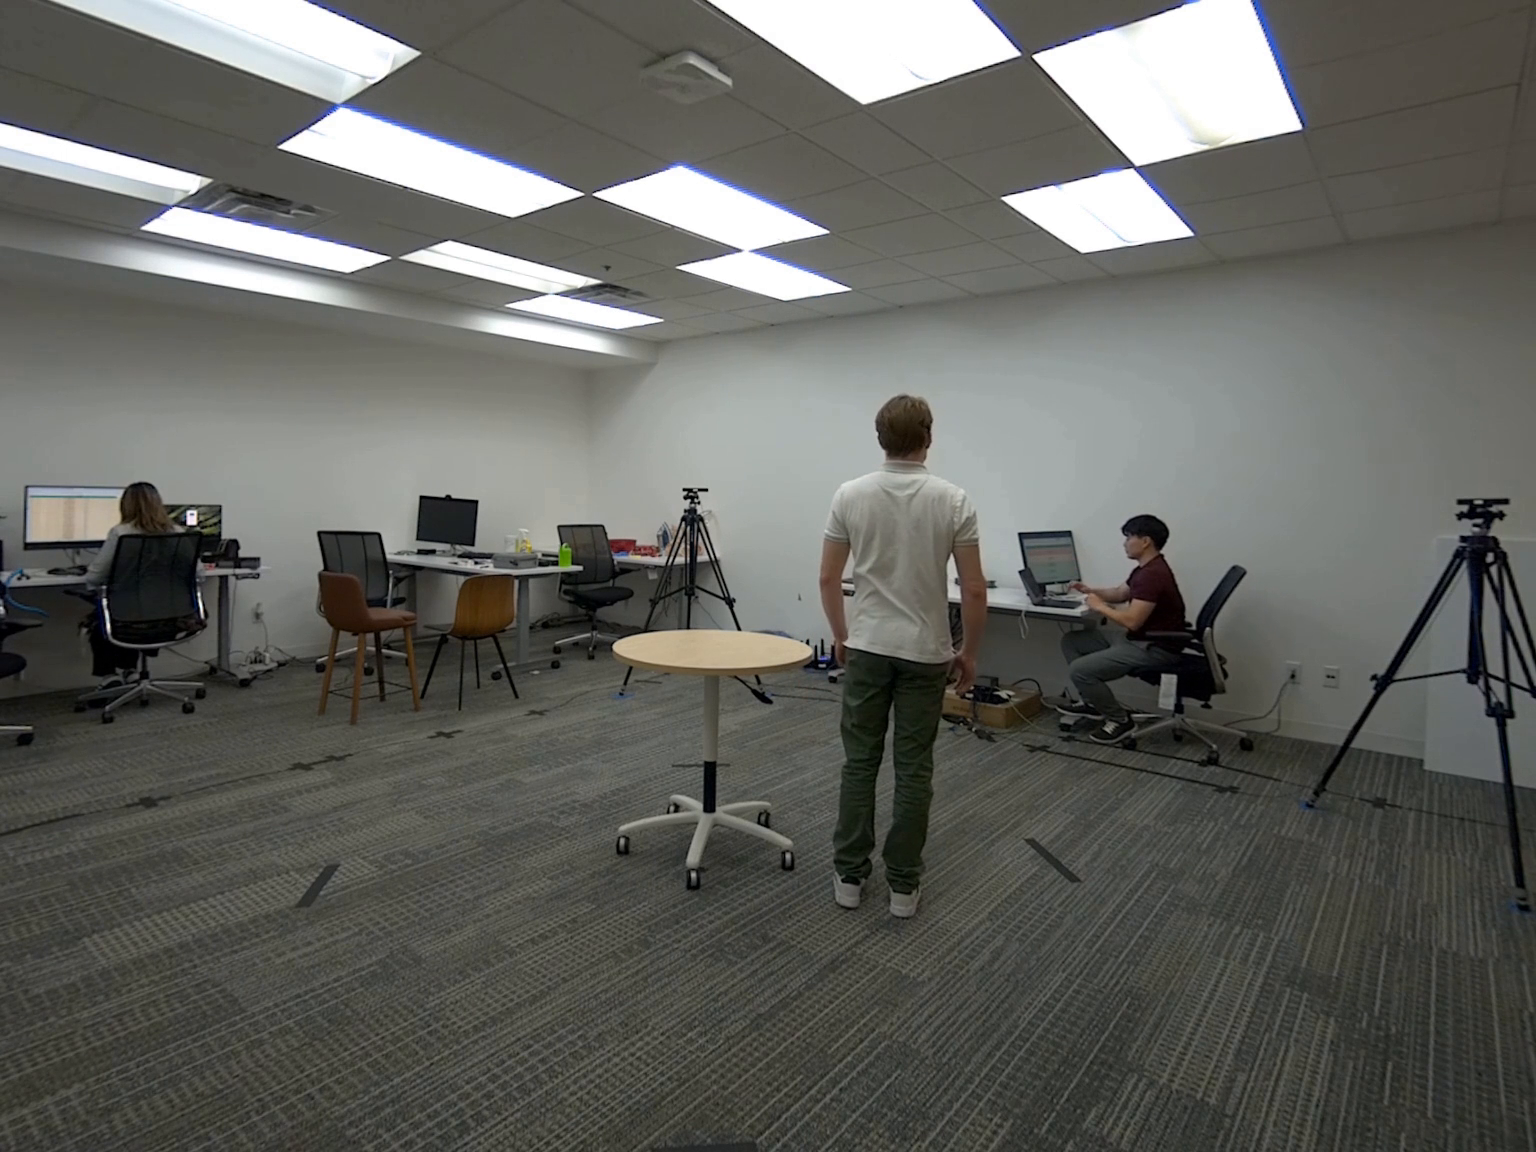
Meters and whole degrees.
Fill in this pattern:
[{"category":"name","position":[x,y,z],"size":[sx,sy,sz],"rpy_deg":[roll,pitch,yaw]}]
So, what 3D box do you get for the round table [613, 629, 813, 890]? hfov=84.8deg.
[{"category":"round table","position":[-0.234,0.658,3.300],"size":[0.784,0.783,0.789],"rpy_deg":[1,5,-2]}]
